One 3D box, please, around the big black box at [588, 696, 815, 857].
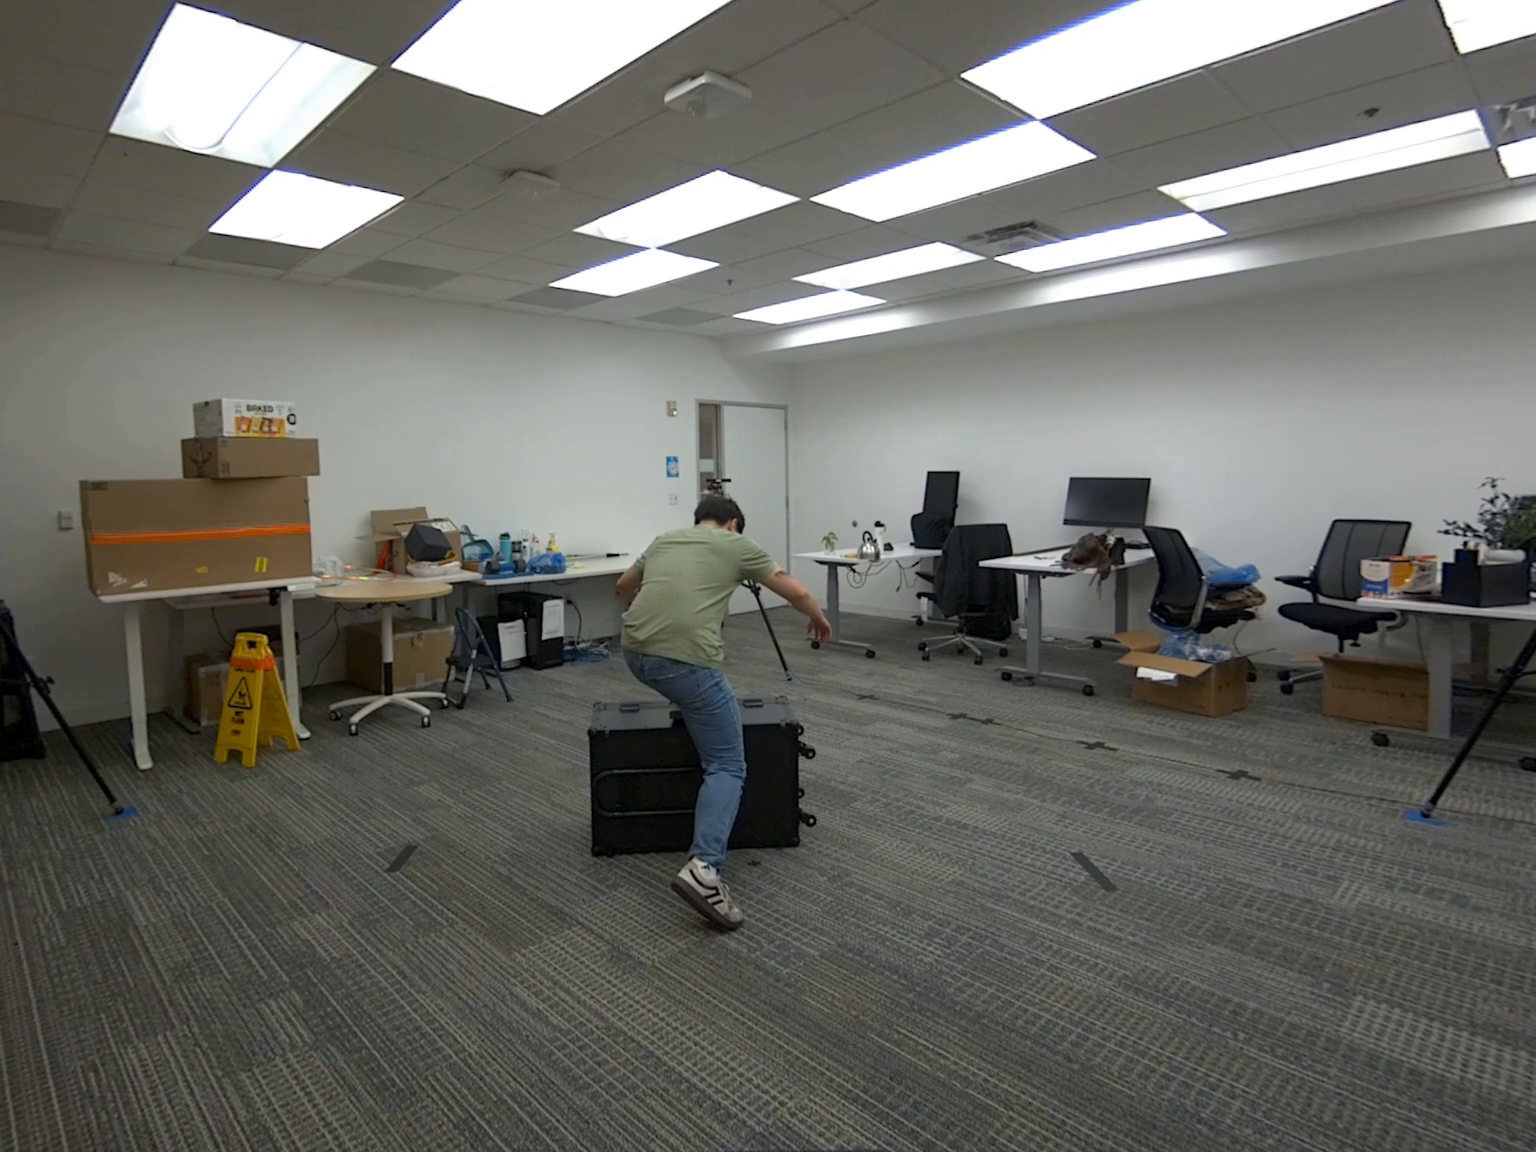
[{"bbox_3d":[-0.261,0.765,3.349,0.857,0.518,0.400,-1,6,-5],"label":"big black box"}]
